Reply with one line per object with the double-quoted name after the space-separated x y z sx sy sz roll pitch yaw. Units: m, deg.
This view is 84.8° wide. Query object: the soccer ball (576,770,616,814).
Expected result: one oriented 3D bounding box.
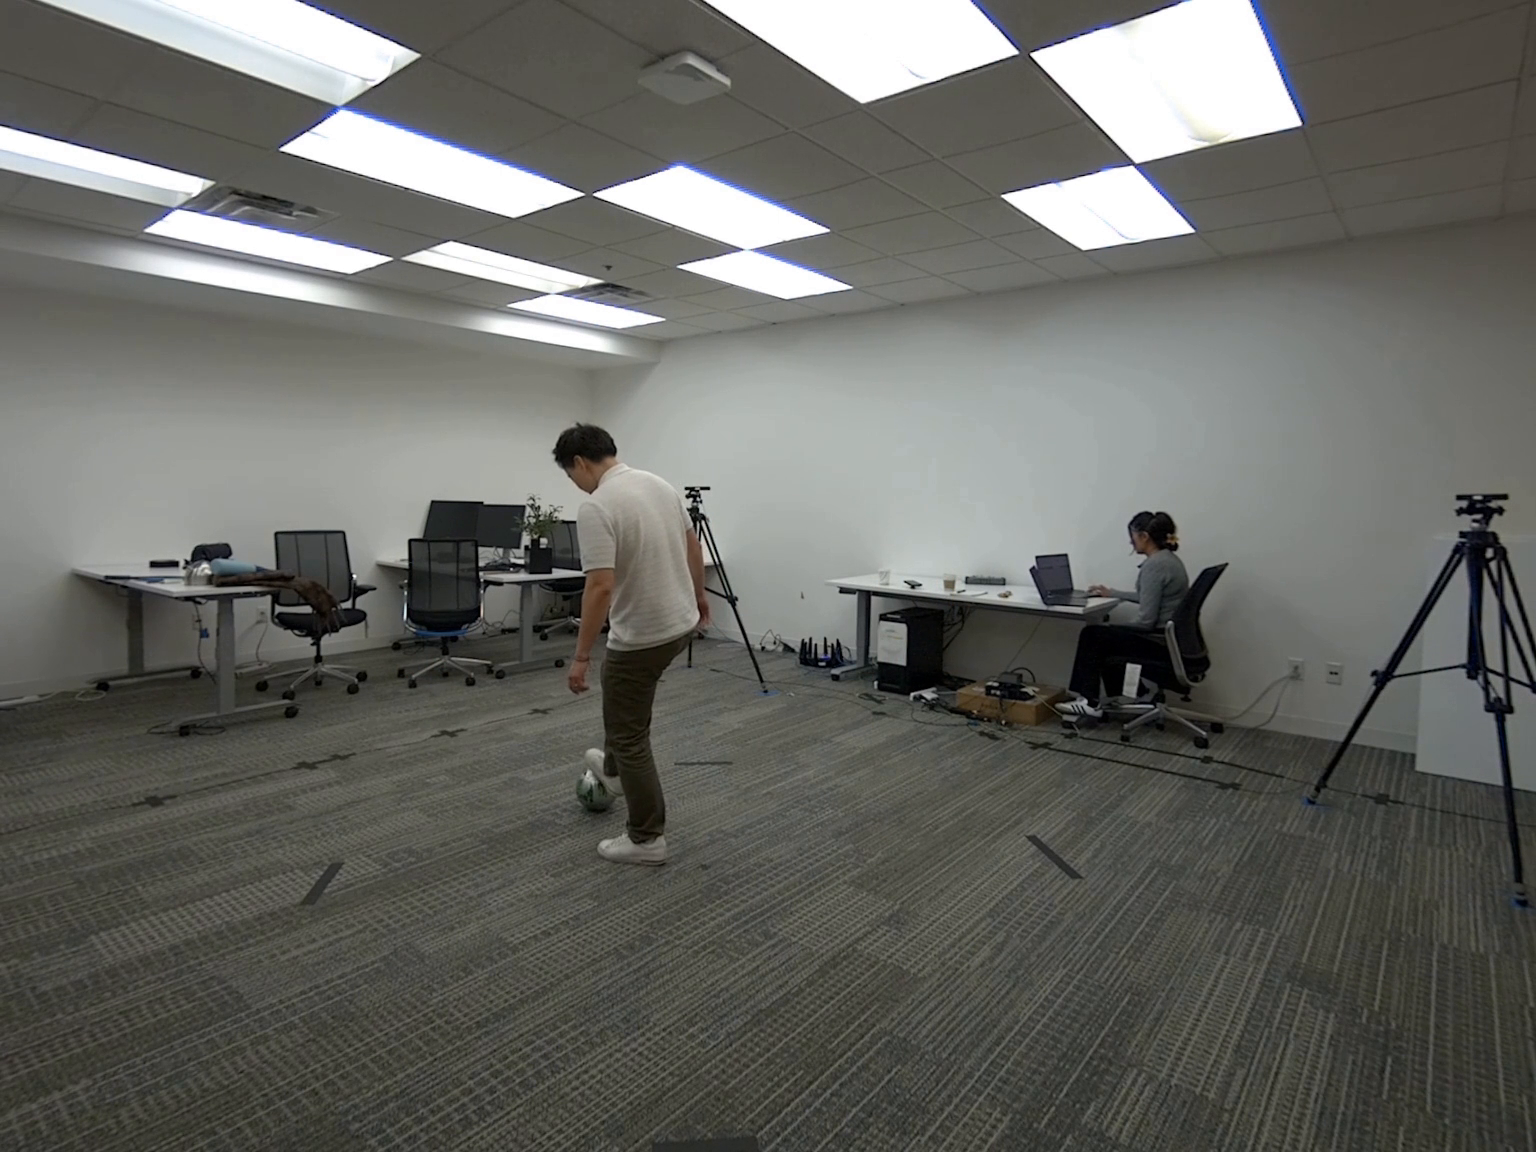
-0.747 0.911 3.669 0.187 0.187 0.188 0 4 -2 "soccer ball"
